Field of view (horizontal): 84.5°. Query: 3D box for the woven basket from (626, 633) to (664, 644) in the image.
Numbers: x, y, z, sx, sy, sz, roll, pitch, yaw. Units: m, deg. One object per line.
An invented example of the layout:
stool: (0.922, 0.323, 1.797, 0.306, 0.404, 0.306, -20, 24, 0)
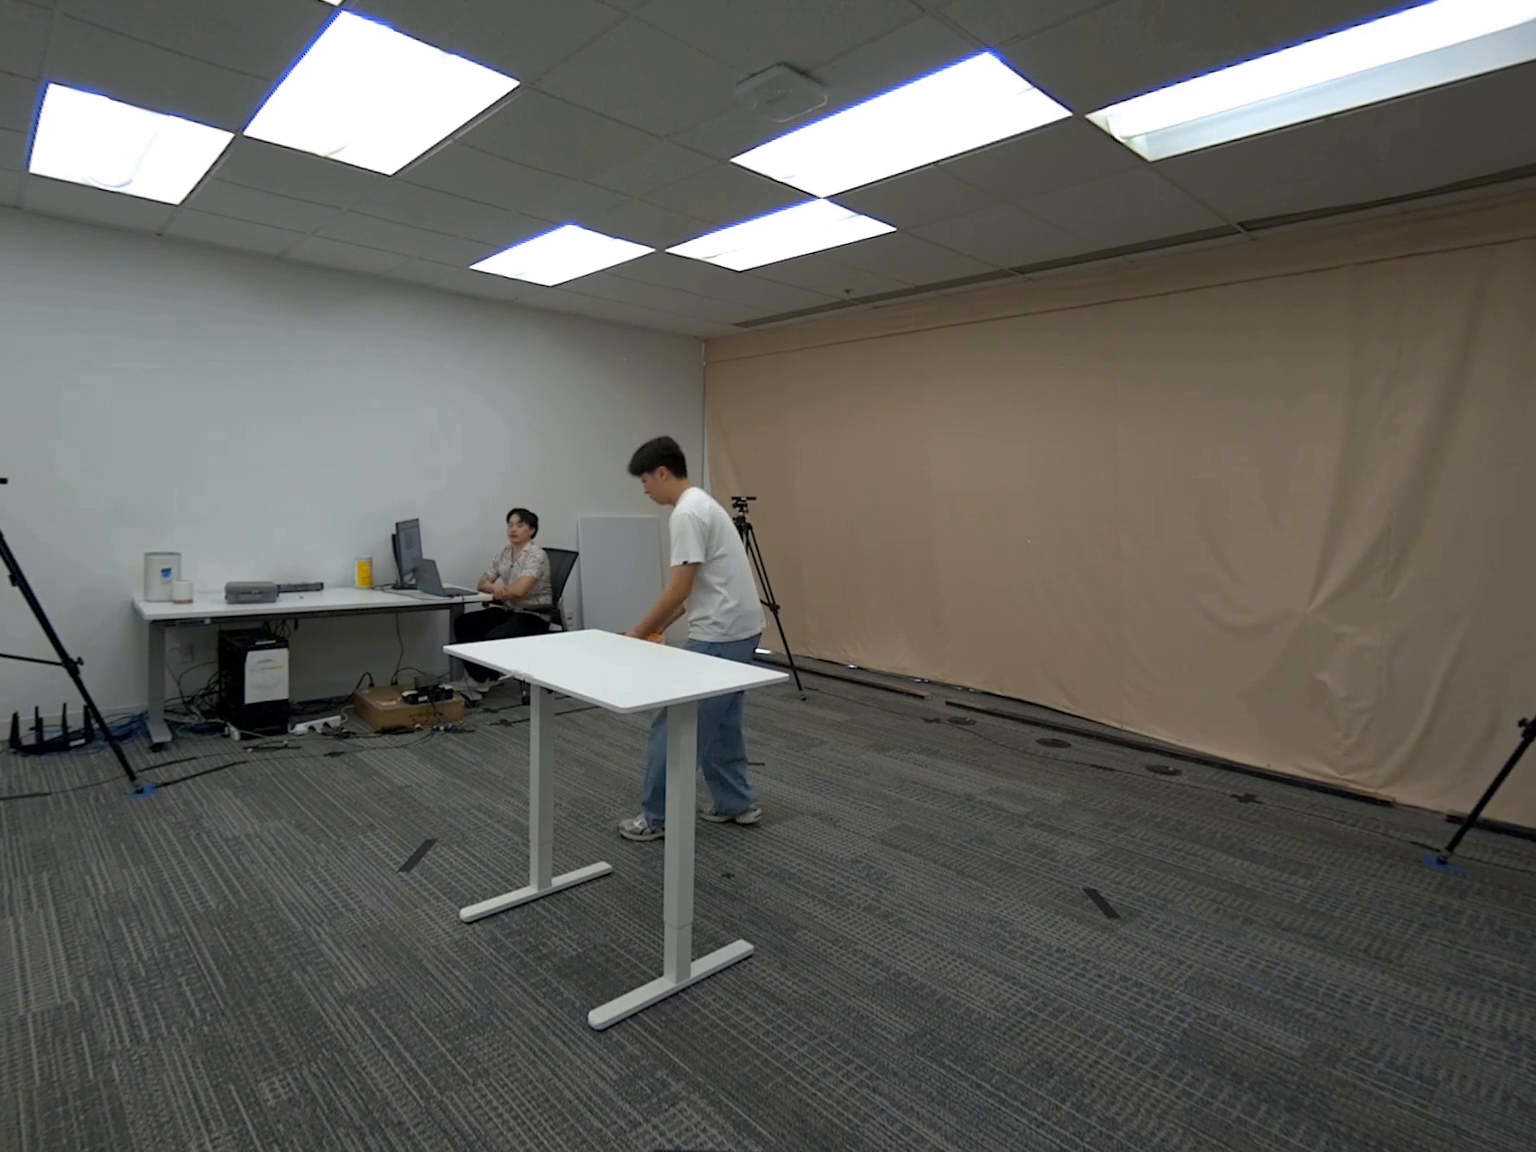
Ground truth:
woven basket: (-0.586, 0.315, 3.558, 0.255, 0.073, 0.347, 4, 5, 13)
